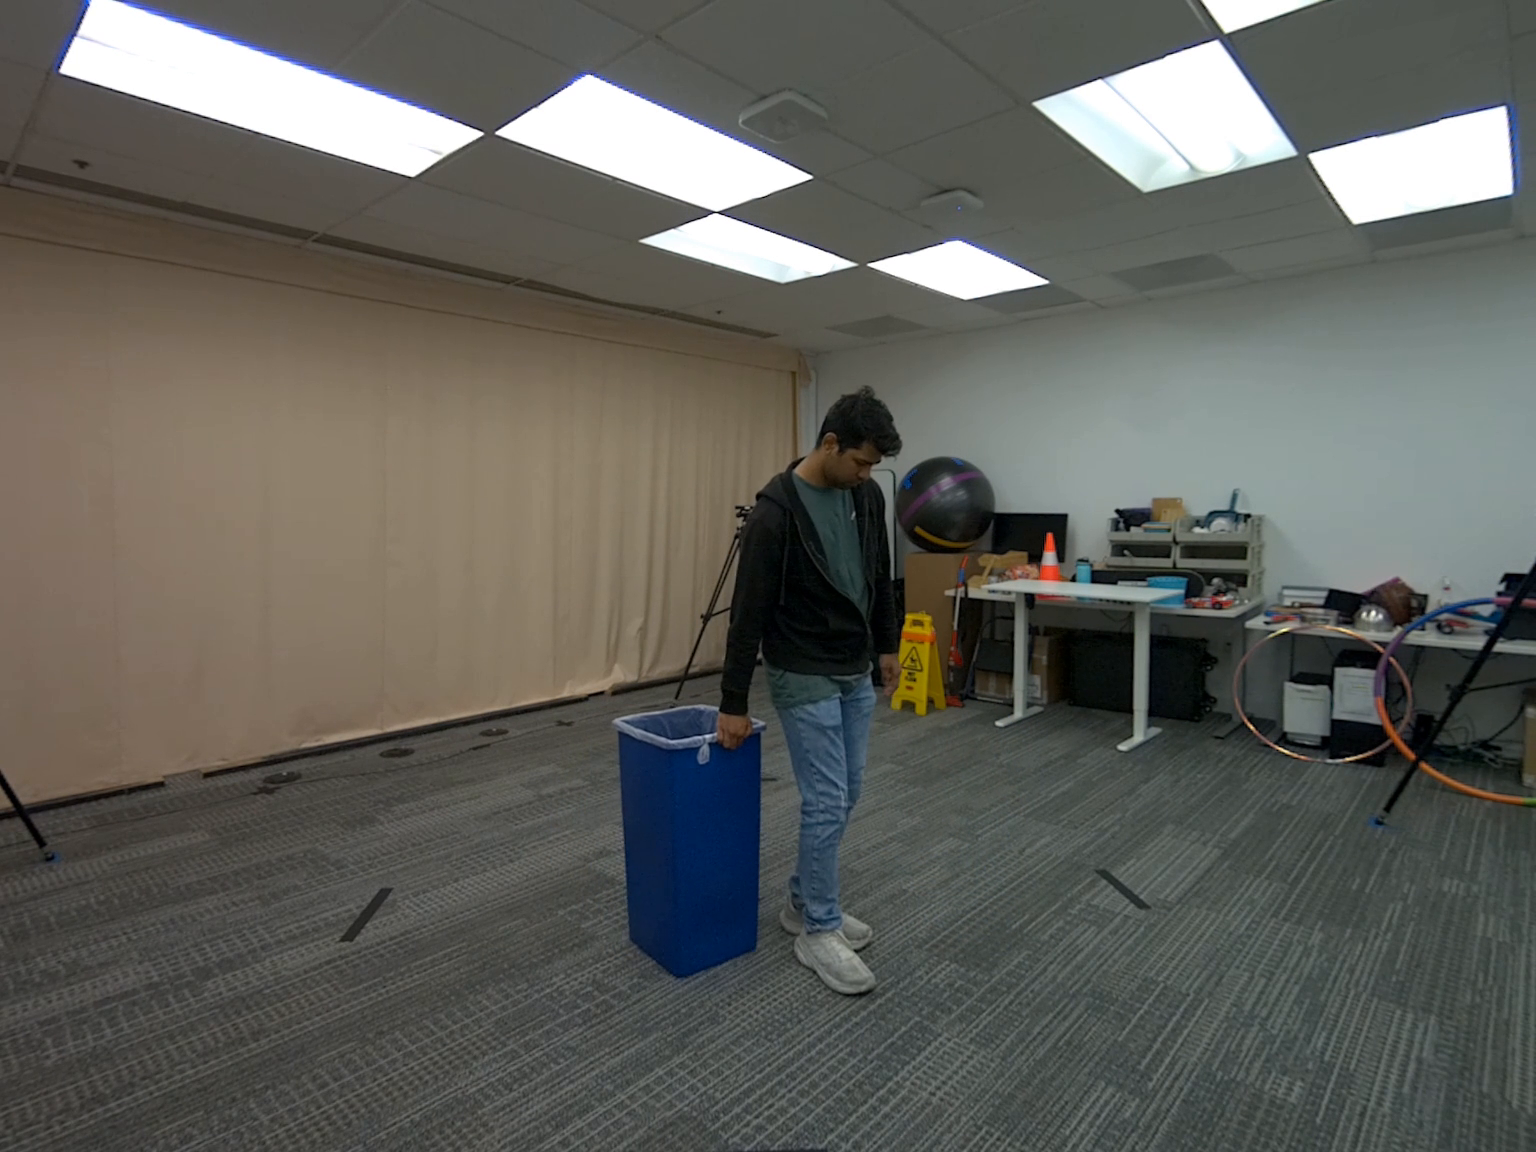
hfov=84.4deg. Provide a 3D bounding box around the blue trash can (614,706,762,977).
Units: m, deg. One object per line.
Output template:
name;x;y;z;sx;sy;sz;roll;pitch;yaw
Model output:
blue trash can;-0.241;0.815;2.671;0.363;0.712;0.390;-4;4;-40
